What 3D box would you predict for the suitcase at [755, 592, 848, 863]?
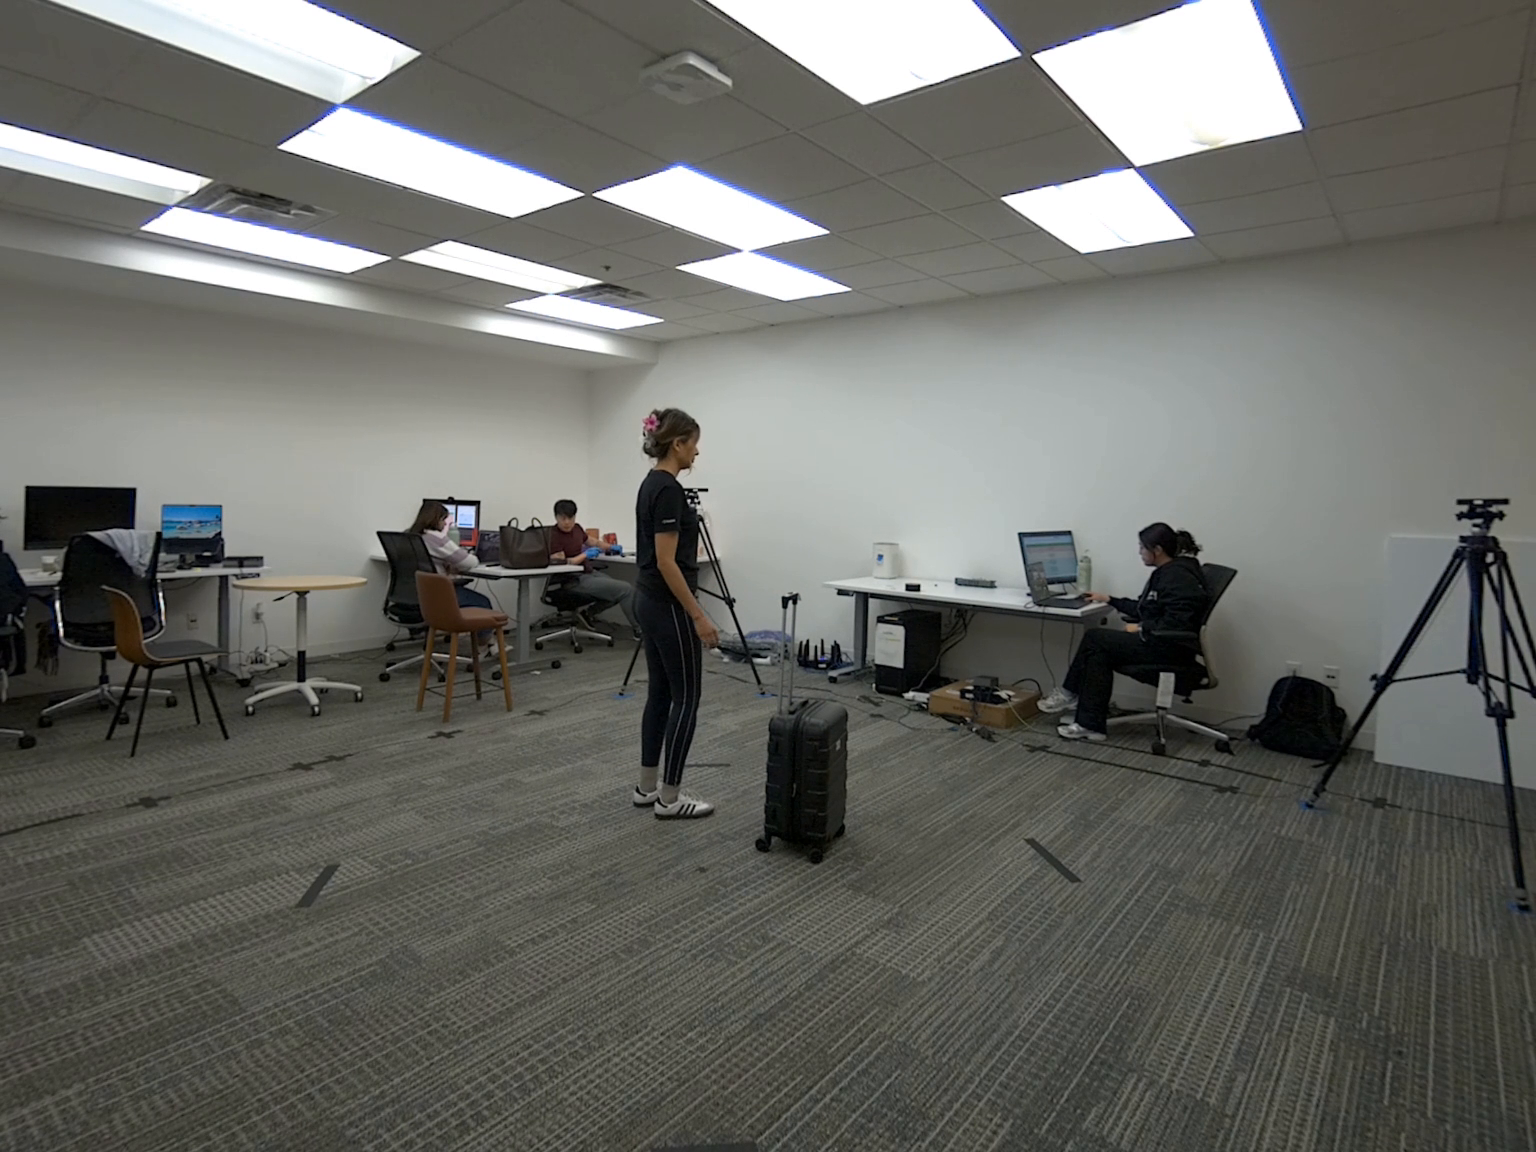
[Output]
[{"bbox_3d":[0.166,0.574,3.356,0.263,0.976,0.376,5,3,20],"label":"suitcase"}]
